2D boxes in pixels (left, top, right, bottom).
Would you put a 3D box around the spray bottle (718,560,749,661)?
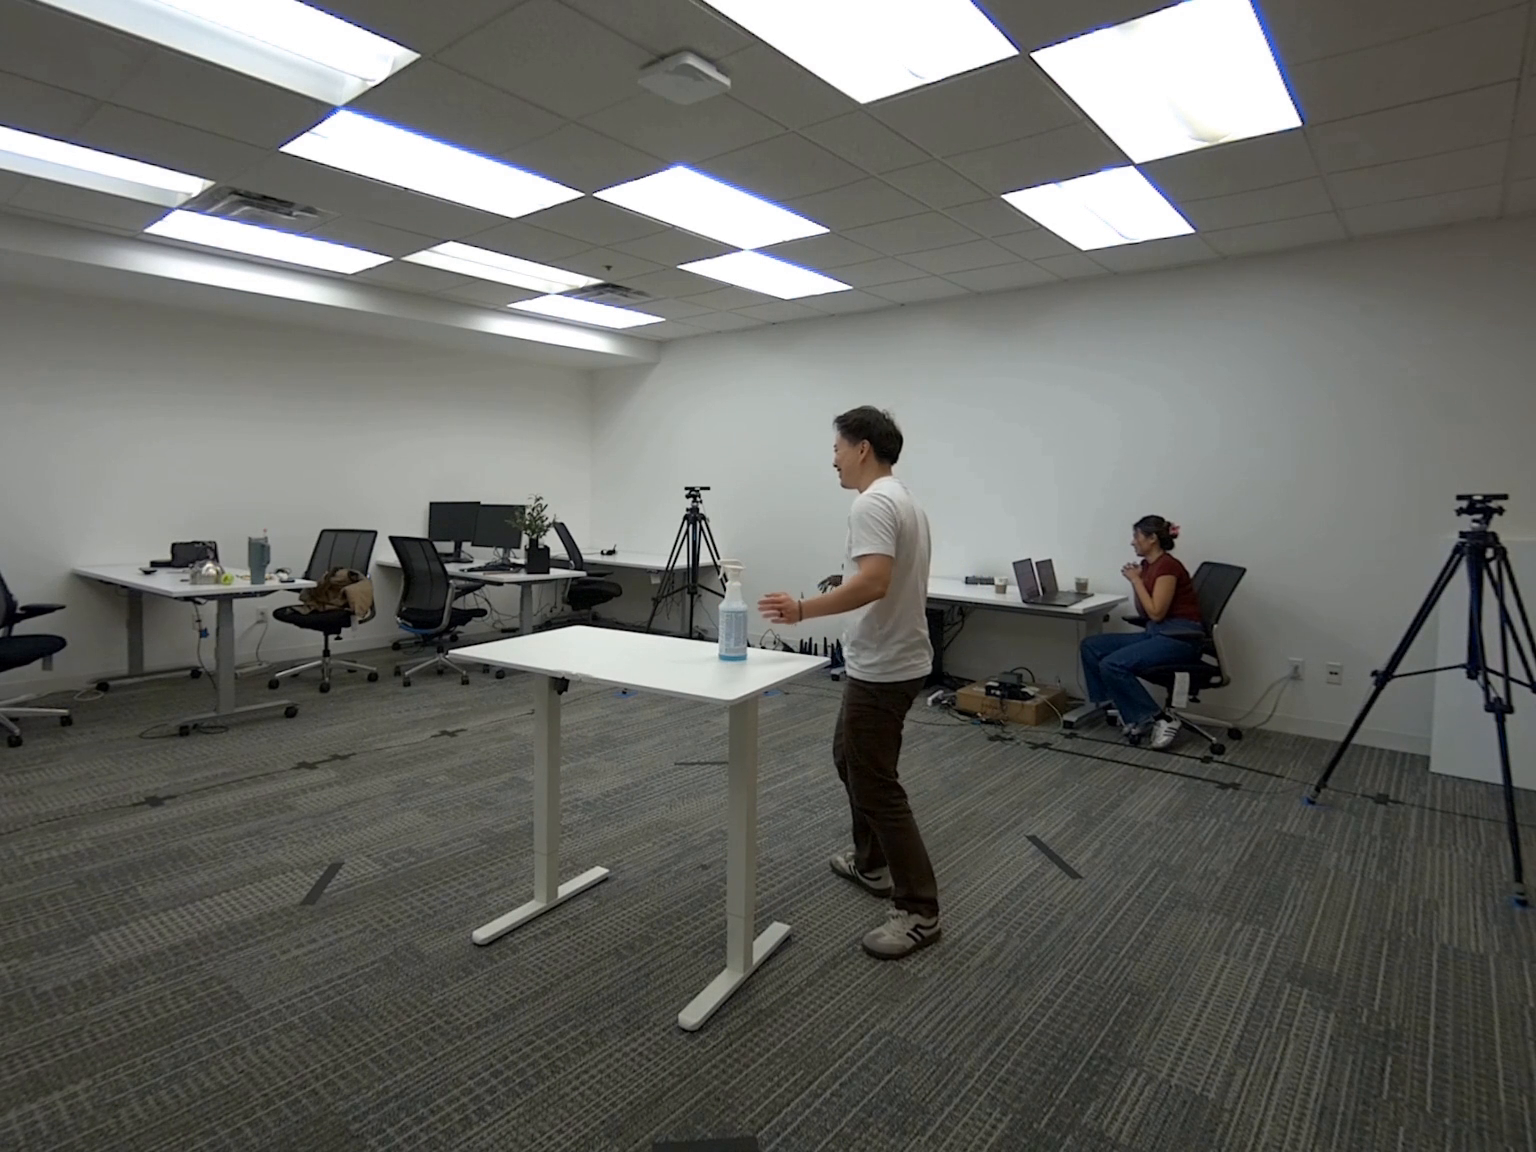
[{"bbox_3d":[-0.112,0.100,2.534,0.090,0.296,0.087,0,3,-3],"label":"spray bottle"}]
